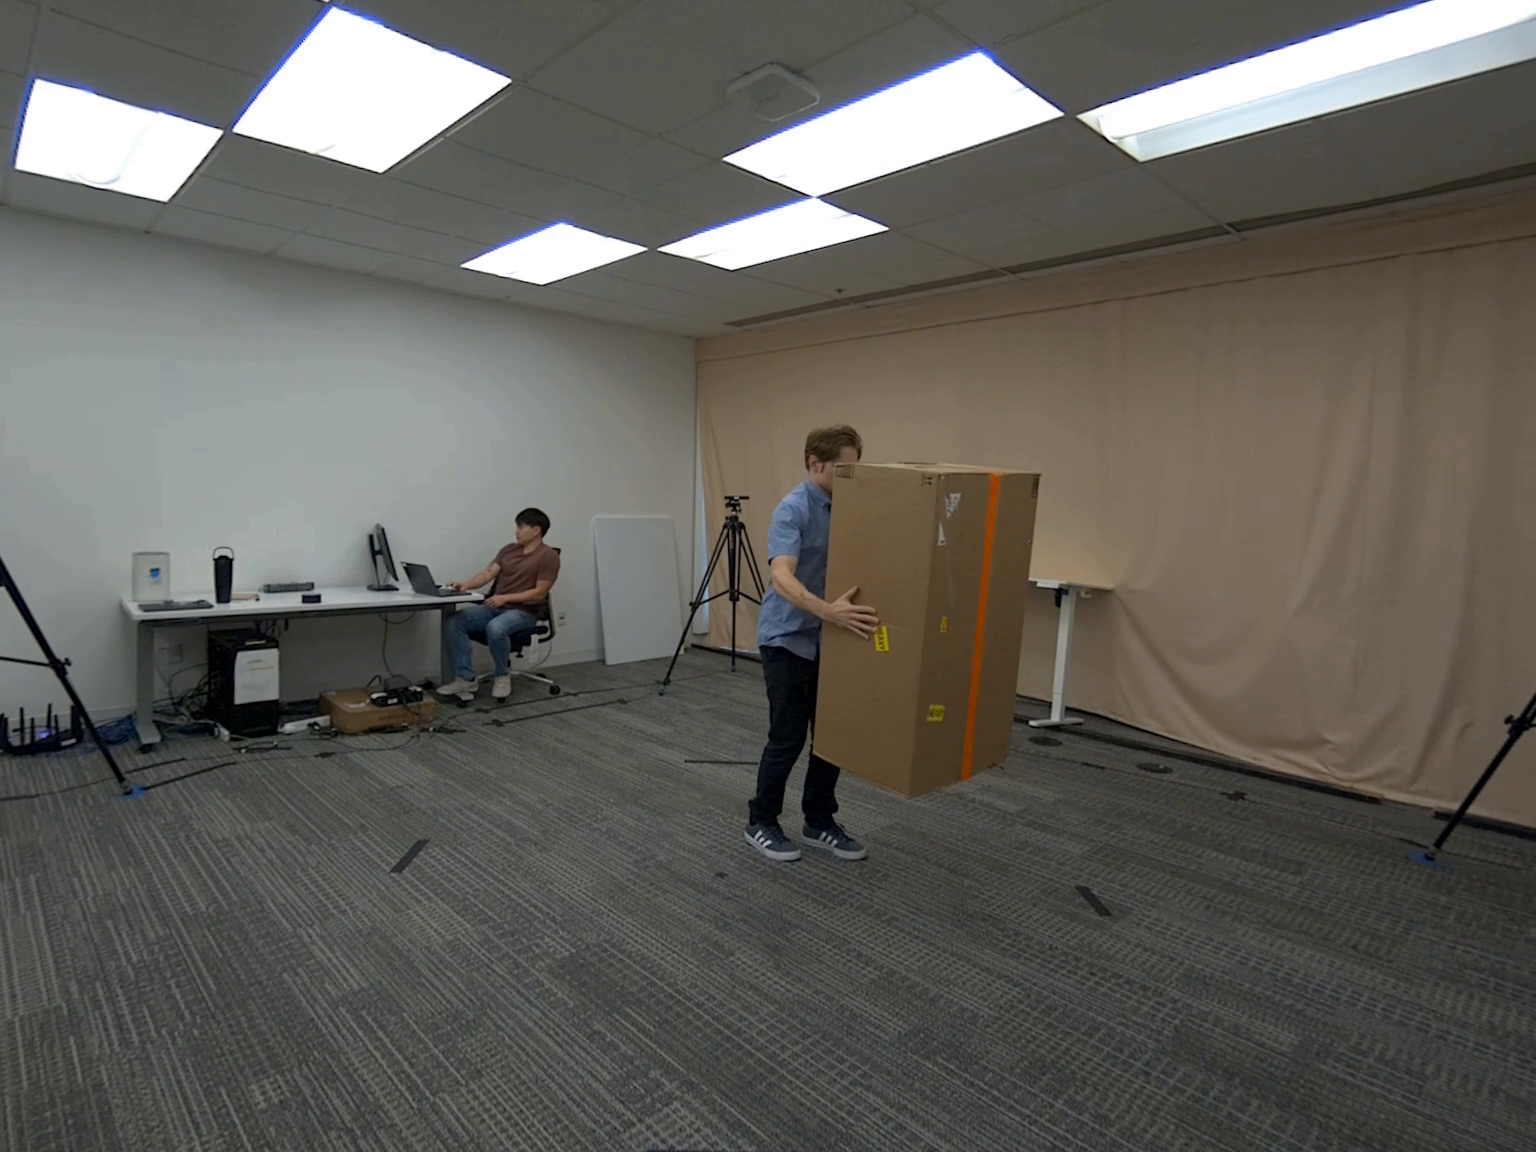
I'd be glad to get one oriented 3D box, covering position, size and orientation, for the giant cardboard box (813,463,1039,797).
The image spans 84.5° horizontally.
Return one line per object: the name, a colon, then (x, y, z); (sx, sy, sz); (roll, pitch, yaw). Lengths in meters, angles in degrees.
giant cardboard box: (0.535, 0.148, 2.878); (0.565, 1.020, 0.438); (-4, 11, -41)
